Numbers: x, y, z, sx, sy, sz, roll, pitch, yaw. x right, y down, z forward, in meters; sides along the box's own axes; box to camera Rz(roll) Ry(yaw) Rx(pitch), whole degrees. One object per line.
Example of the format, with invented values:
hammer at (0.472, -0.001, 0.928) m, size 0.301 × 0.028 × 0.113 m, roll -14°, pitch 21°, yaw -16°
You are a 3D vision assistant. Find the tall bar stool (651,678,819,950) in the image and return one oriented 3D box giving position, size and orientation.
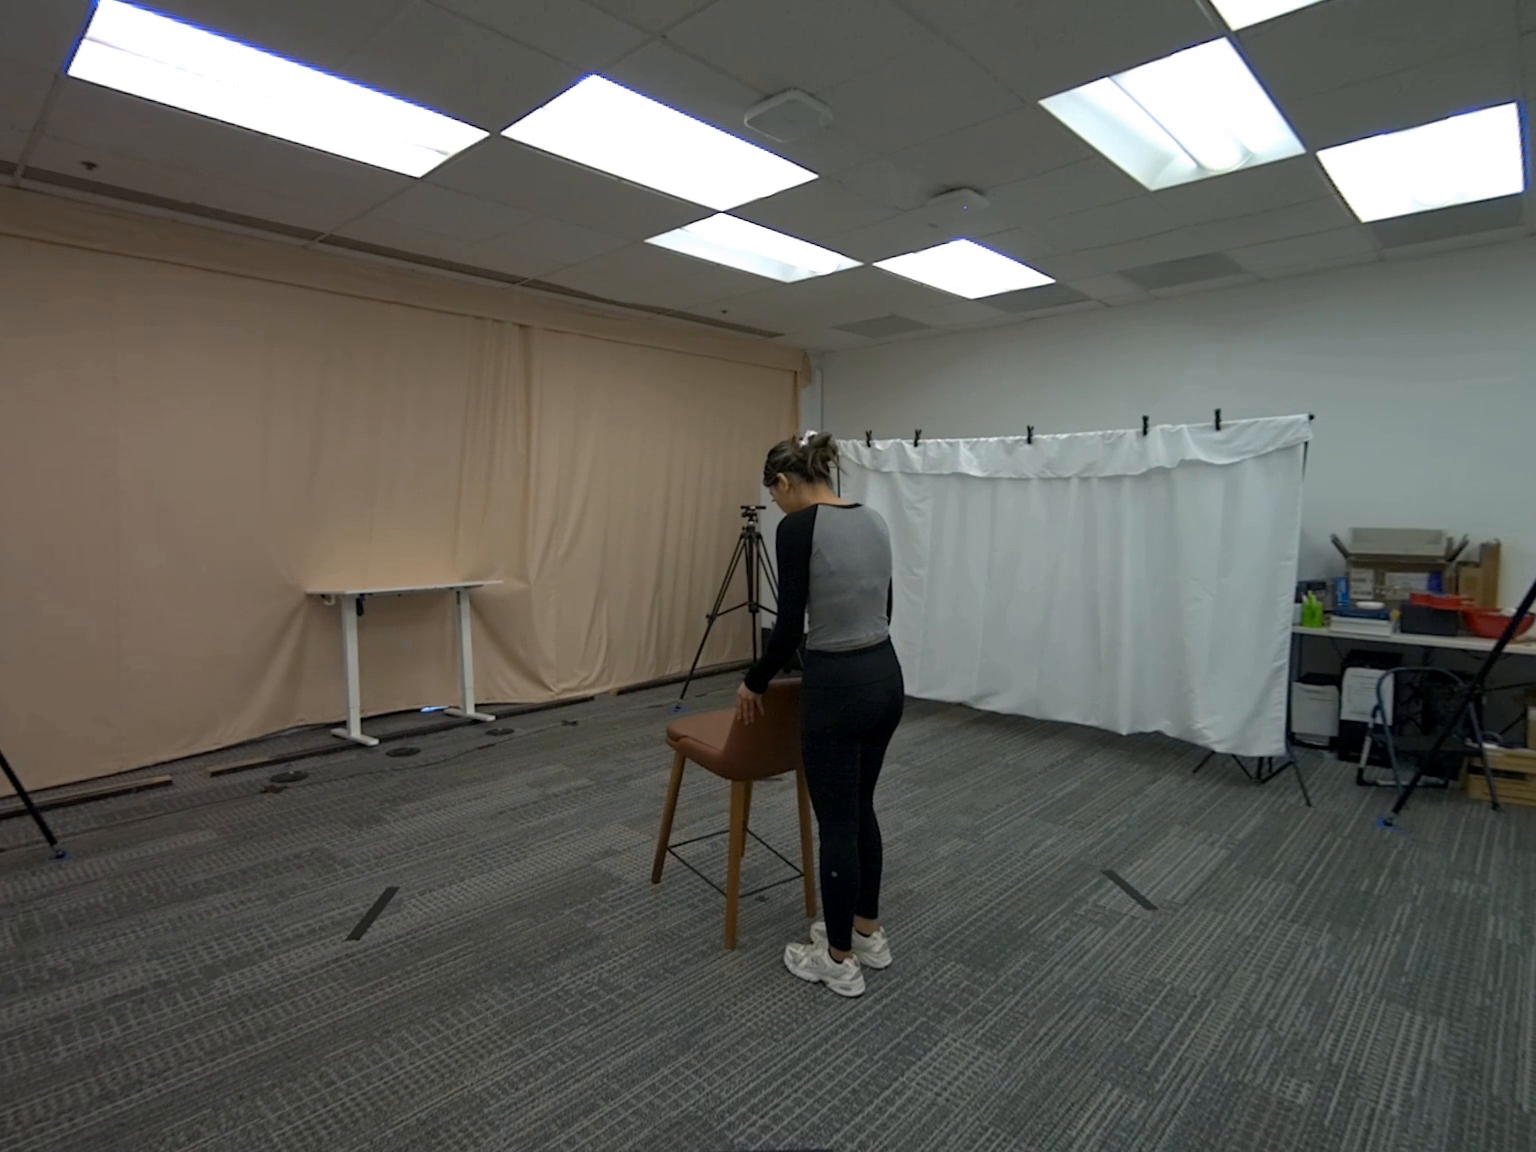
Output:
tall bar stool at (-0.075, 0.697, 2.845) m, size 0.443 × 0.885 × 0.484 m, roll -2°, pitch 14°, yaw -38°
